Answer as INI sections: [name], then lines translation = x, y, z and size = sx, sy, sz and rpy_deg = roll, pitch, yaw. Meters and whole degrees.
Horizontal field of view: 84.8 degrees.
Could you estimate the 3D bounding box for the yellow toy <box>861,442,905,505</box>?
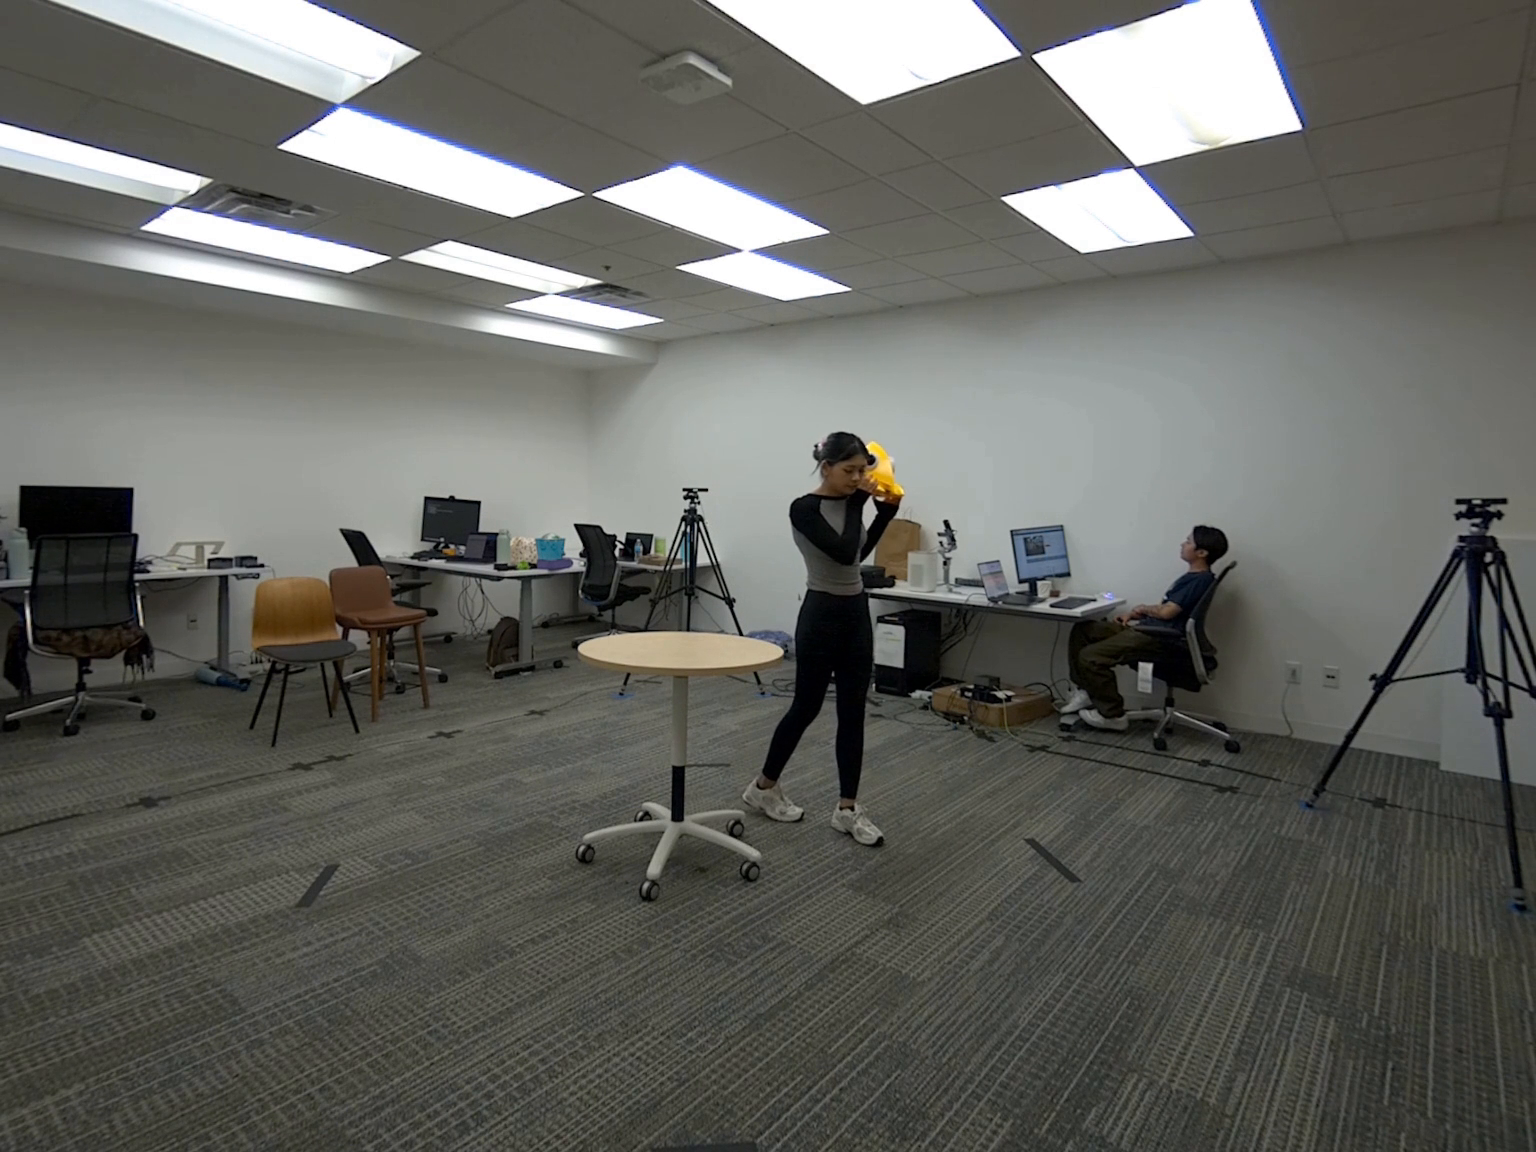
[yellow toy]
translation = 0.453, -0.459, 3.539
size = 0.198, 0.232, 0.198
rpy_deg = 10, -7, -34
